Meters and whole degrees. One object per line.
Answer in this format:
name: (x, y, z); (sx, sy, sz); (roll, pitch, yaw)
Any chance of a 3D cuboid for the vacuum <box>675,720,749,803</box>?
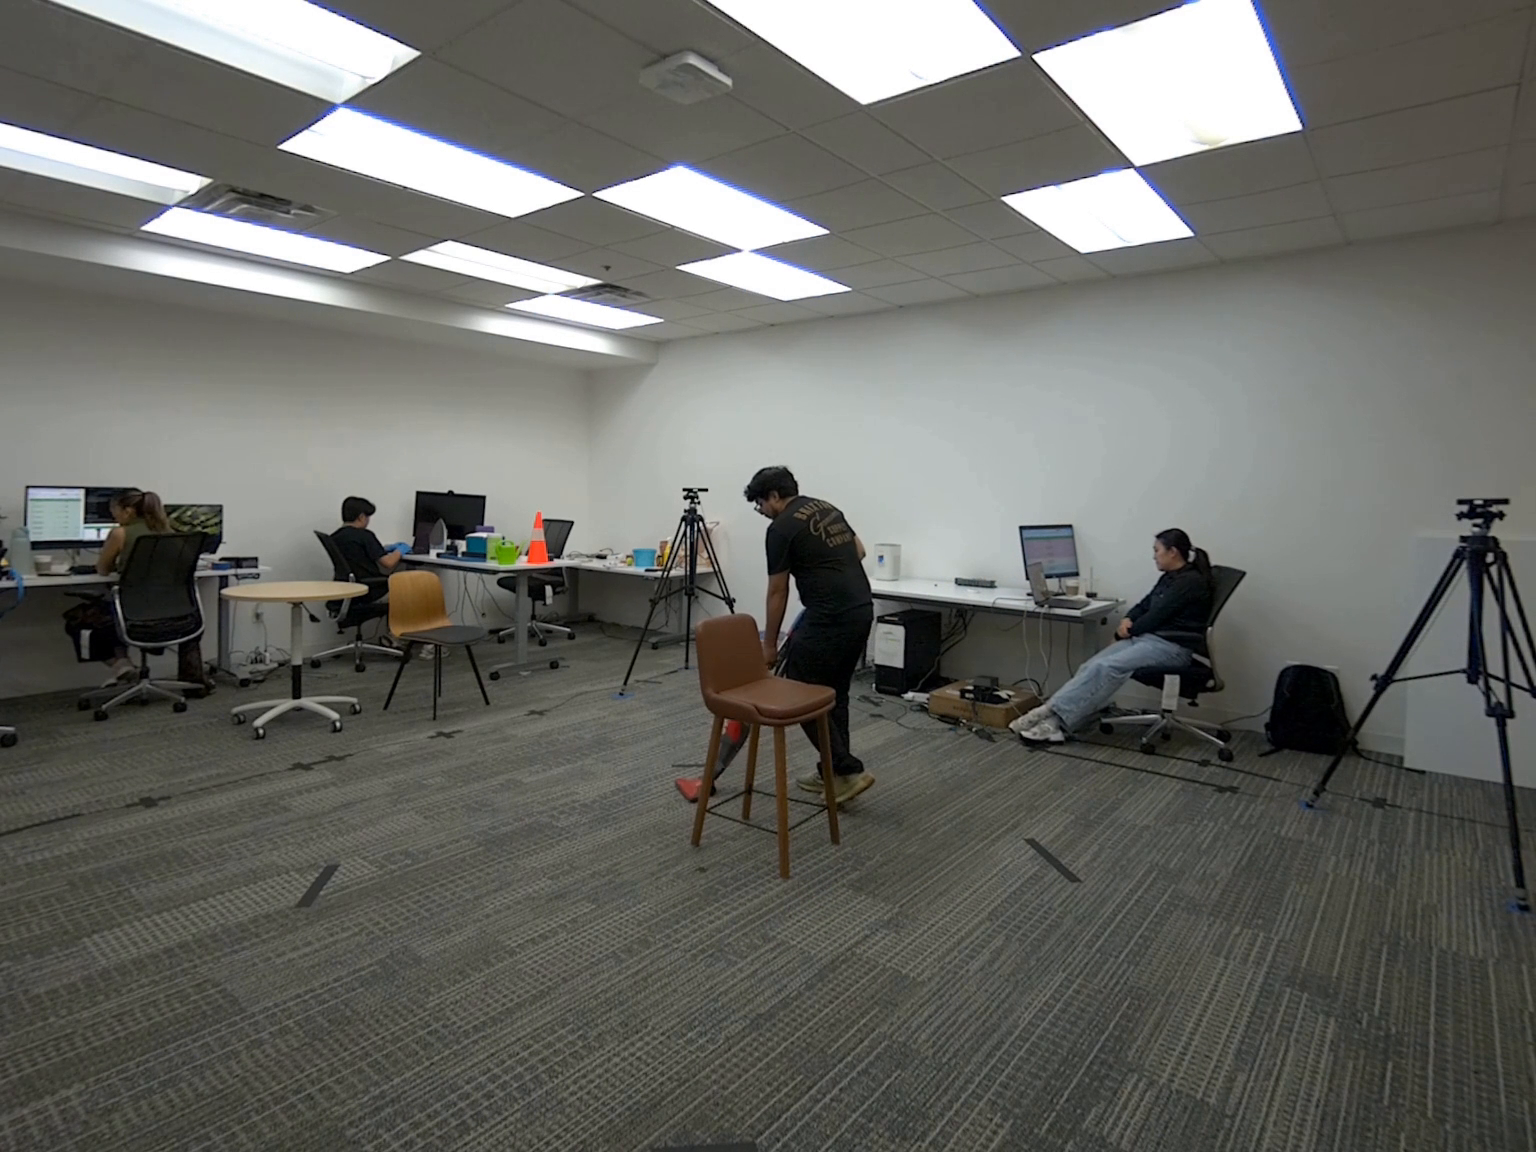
vacuum: (-0.072, 0.544, 3.980); (0.139, 1.052, 0.260); (36, -10, -27)
